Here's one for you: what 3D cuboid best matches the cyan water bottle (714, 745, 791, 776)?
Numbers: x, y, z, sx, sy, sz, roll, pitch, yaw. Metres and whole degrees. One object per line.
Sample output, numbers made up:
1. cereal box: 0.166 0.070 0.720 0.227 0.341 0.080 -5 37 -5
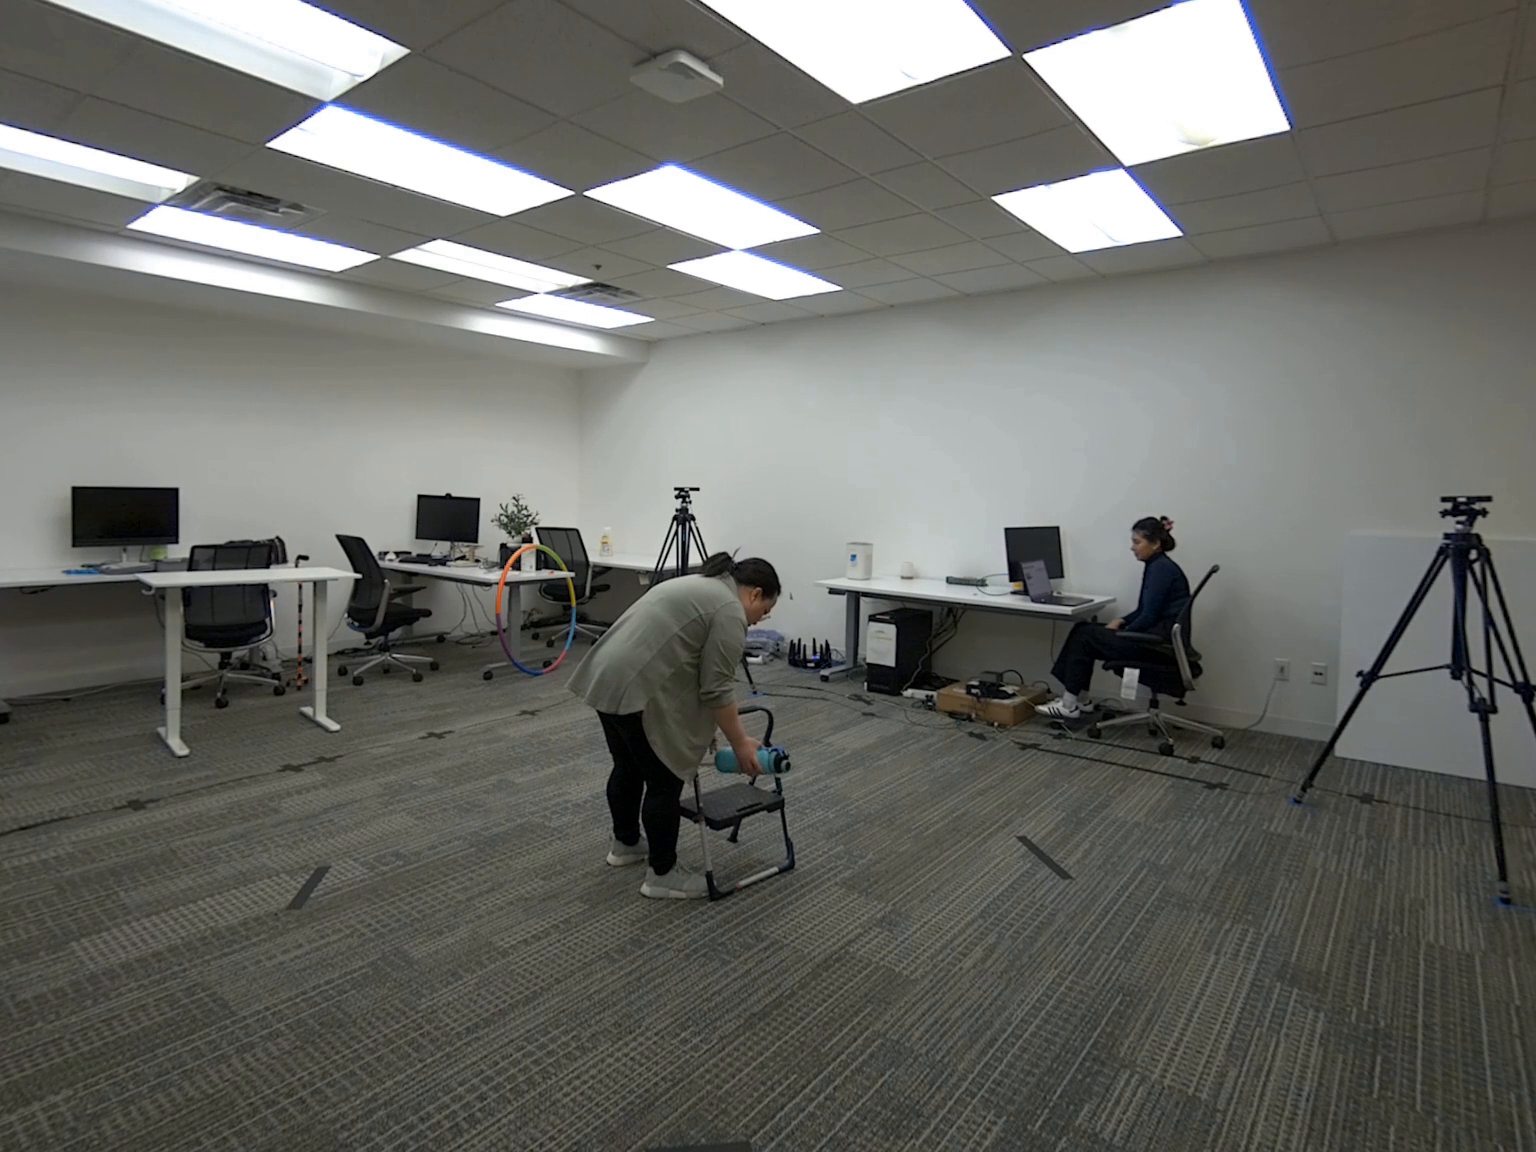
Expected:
1. cyan water bottle: -0.060 0.632 2.915 0.291 0.093 0.089 -8 -3 40
